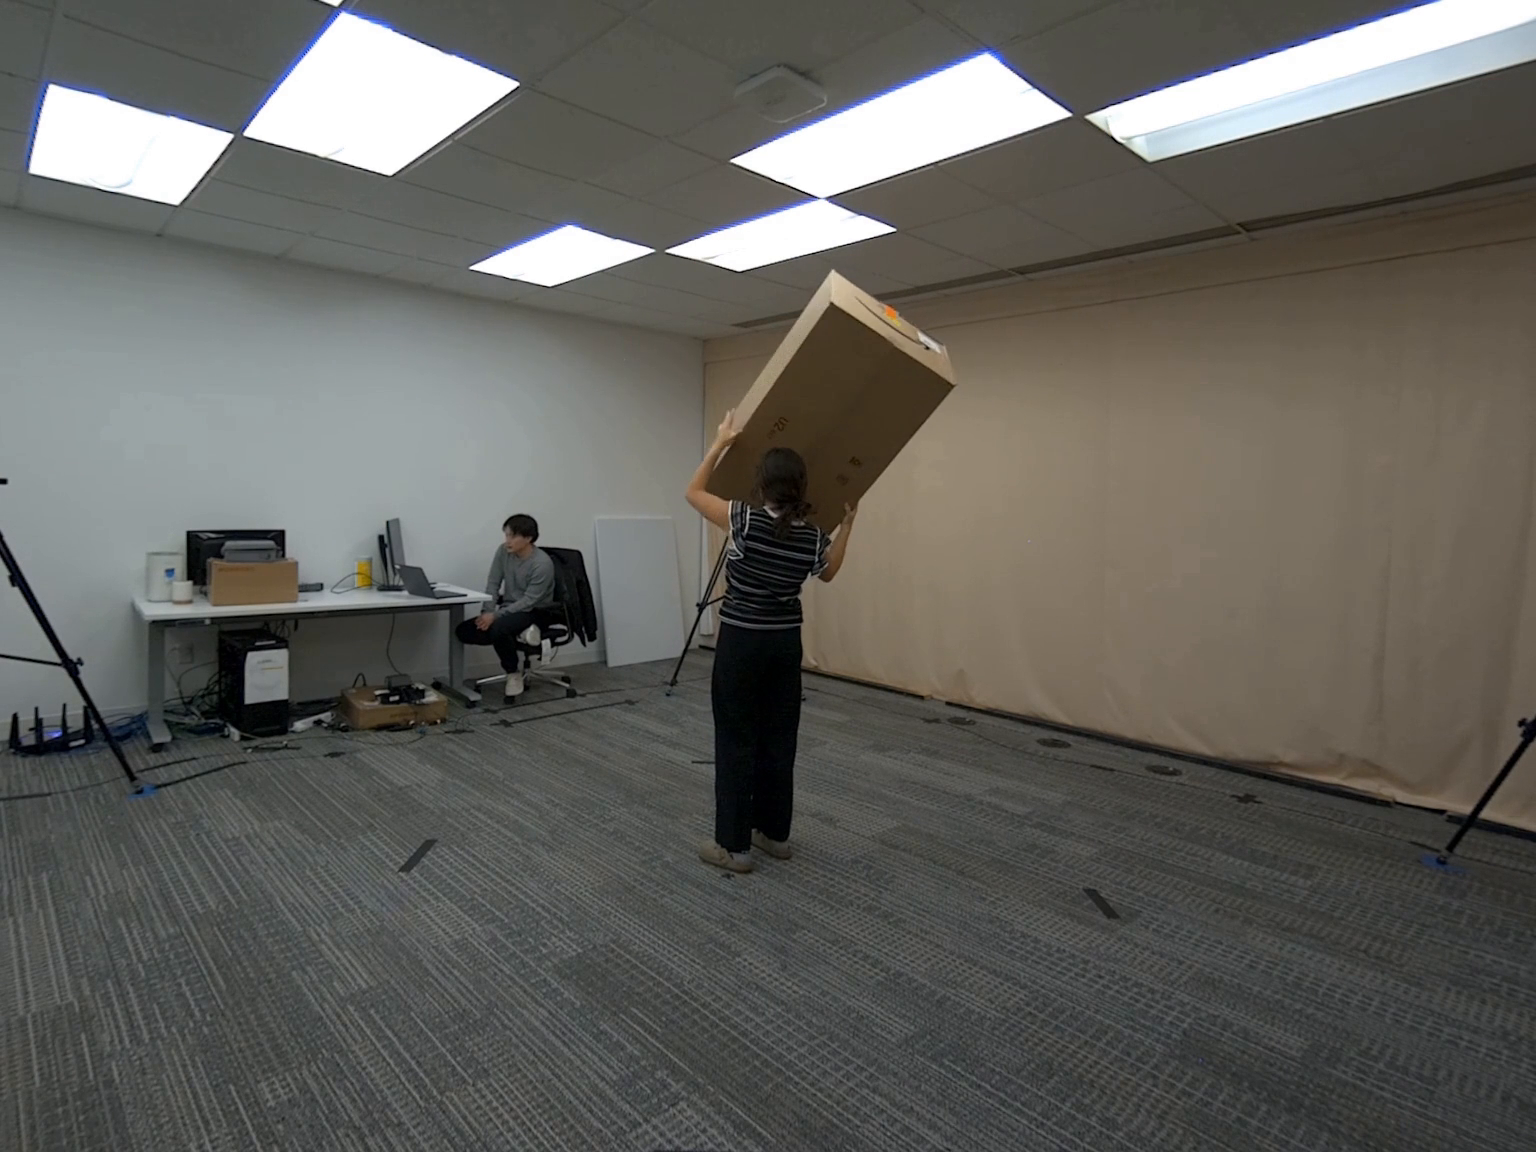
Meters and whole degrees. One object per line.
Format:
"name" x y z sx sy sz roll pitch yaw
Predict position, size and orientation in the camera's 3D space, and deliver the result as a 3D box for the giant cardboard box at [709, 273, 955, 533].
"giant cardboard box" 0.183 -0.631 3.502 0.569 1.023 0.433 30 32 -14
